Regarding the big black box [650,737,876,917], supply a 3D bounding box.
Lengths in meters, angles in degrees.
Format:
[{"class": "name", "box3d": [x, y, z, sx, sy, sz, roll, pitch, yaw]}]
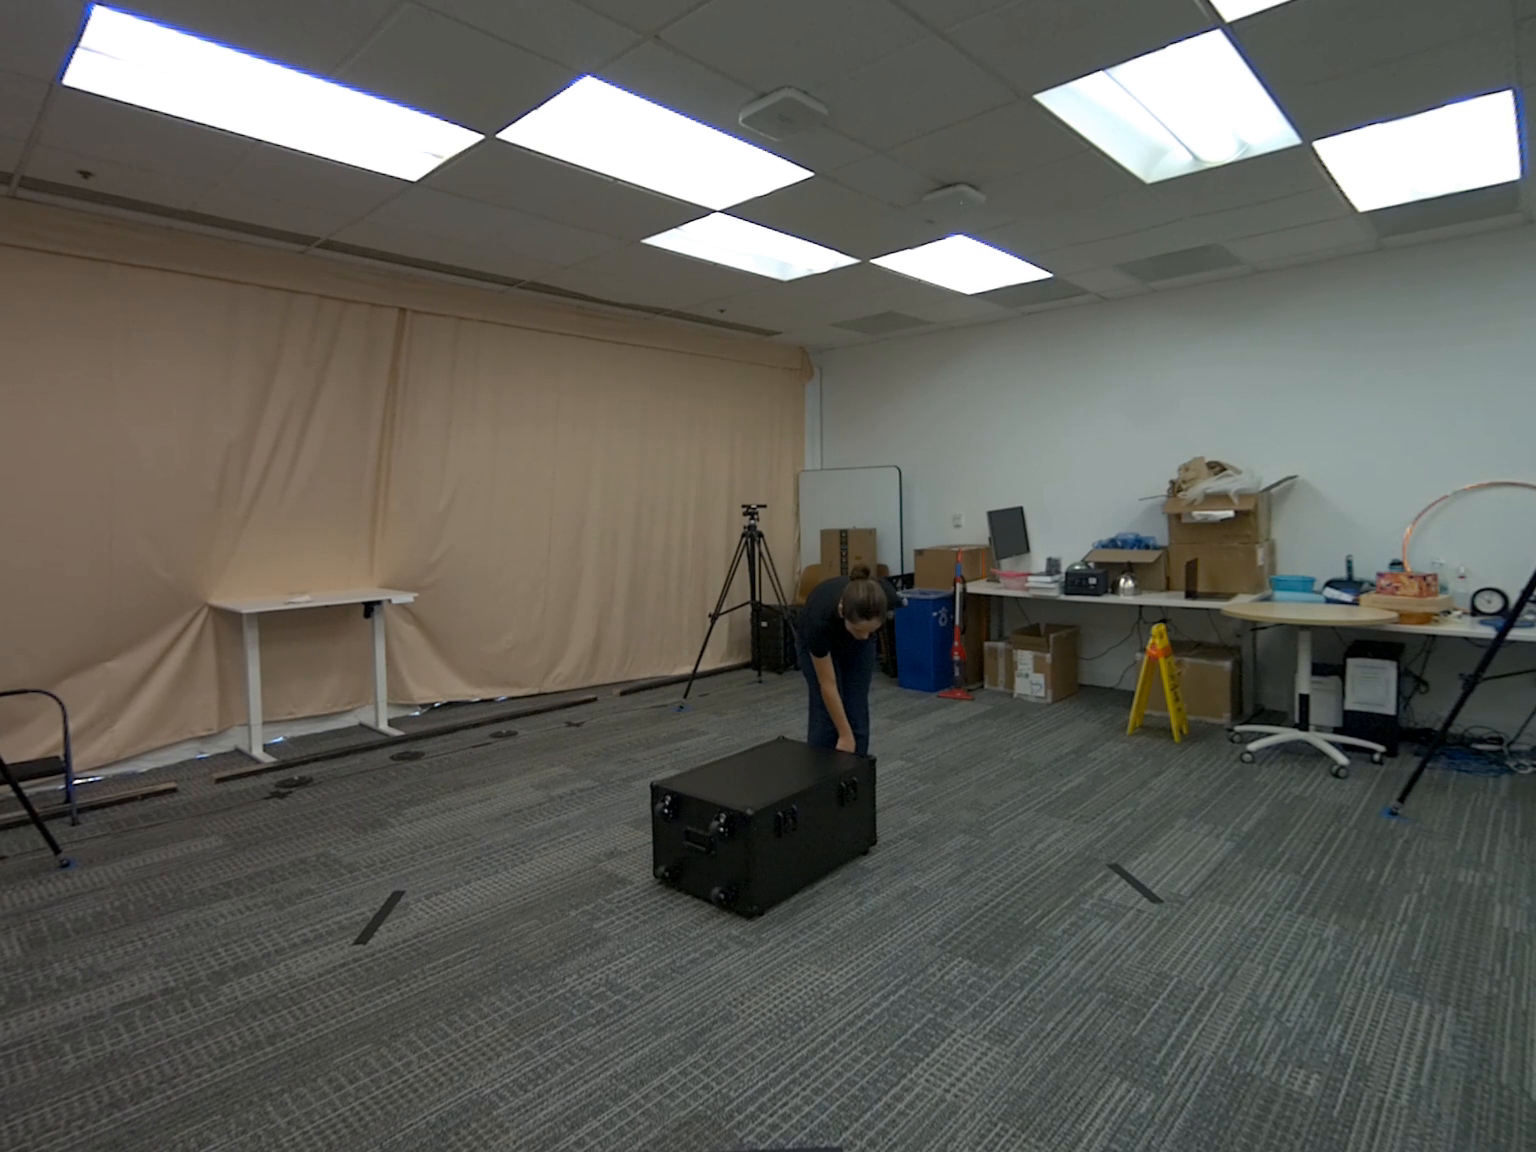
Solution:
[{"class": "big black box", "box3d": [-0.012, 0.930, 3.211, 0.538, 0.395, 0.835, 2, 4, 40]}]
